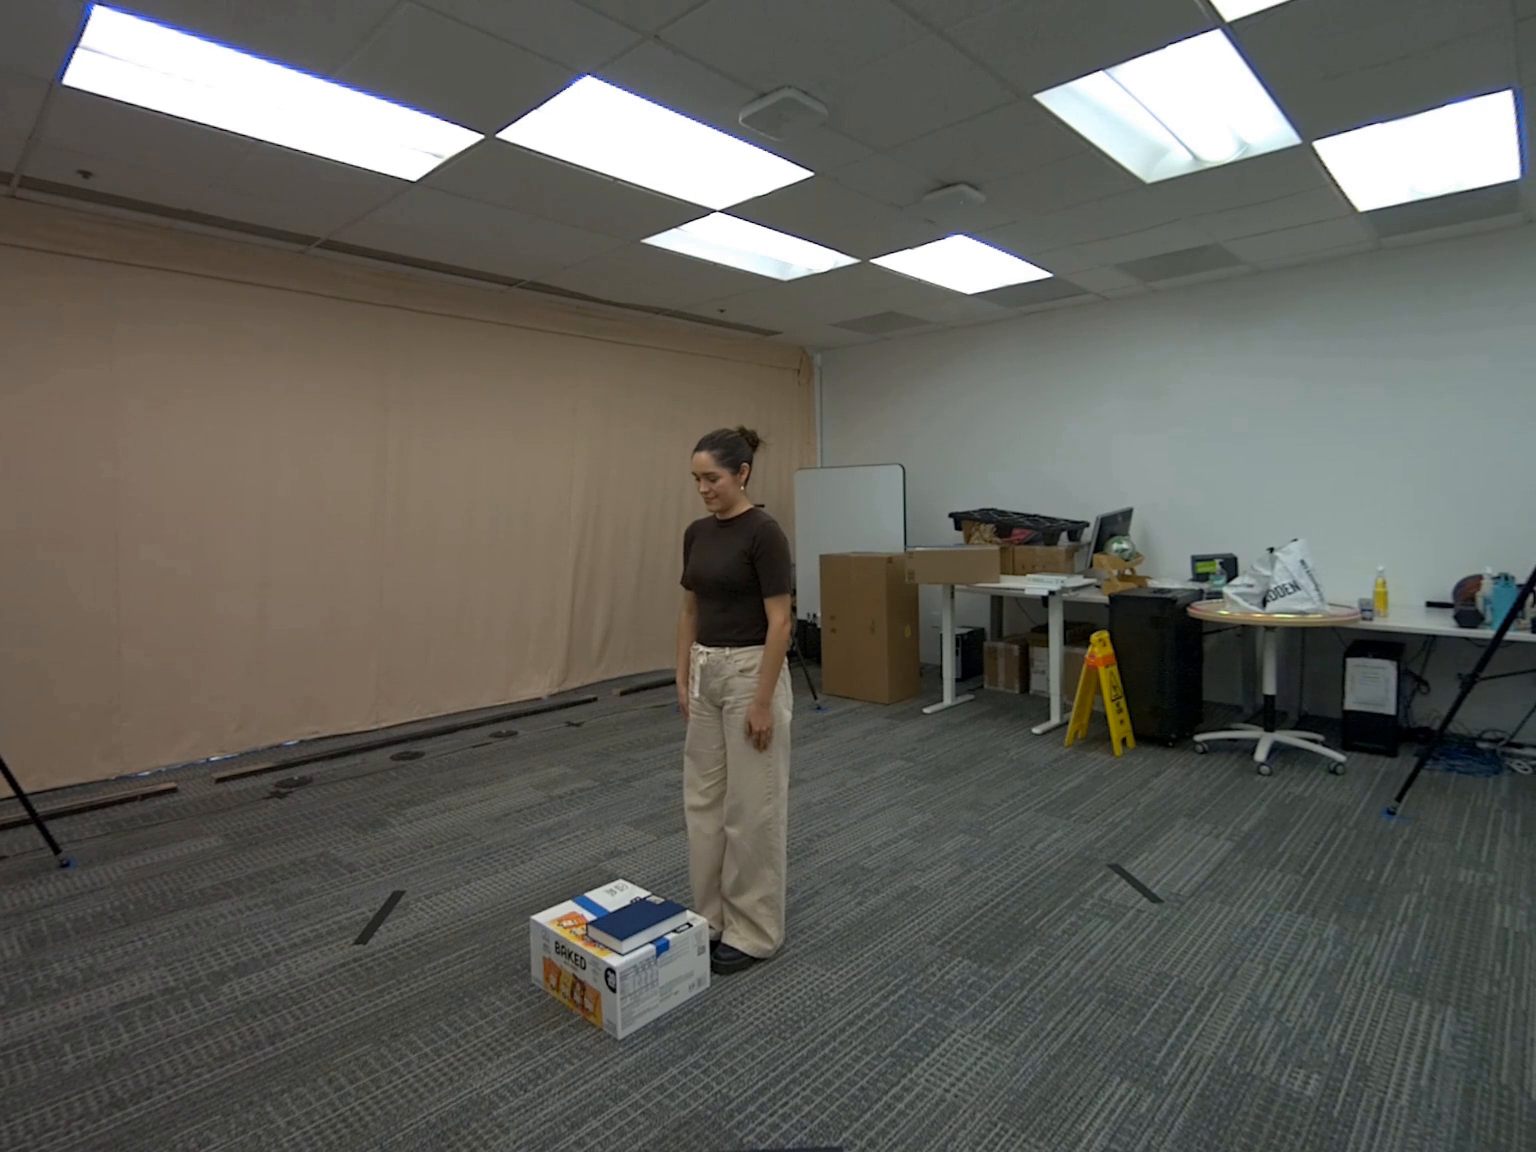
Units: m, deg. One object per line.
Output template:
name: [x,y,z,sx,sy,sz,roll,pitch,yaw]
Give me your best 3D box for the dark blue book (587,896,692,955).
dark blue book: [-0.363,0.979,2.373,0.168,0.045,0.238,0,4,43]
